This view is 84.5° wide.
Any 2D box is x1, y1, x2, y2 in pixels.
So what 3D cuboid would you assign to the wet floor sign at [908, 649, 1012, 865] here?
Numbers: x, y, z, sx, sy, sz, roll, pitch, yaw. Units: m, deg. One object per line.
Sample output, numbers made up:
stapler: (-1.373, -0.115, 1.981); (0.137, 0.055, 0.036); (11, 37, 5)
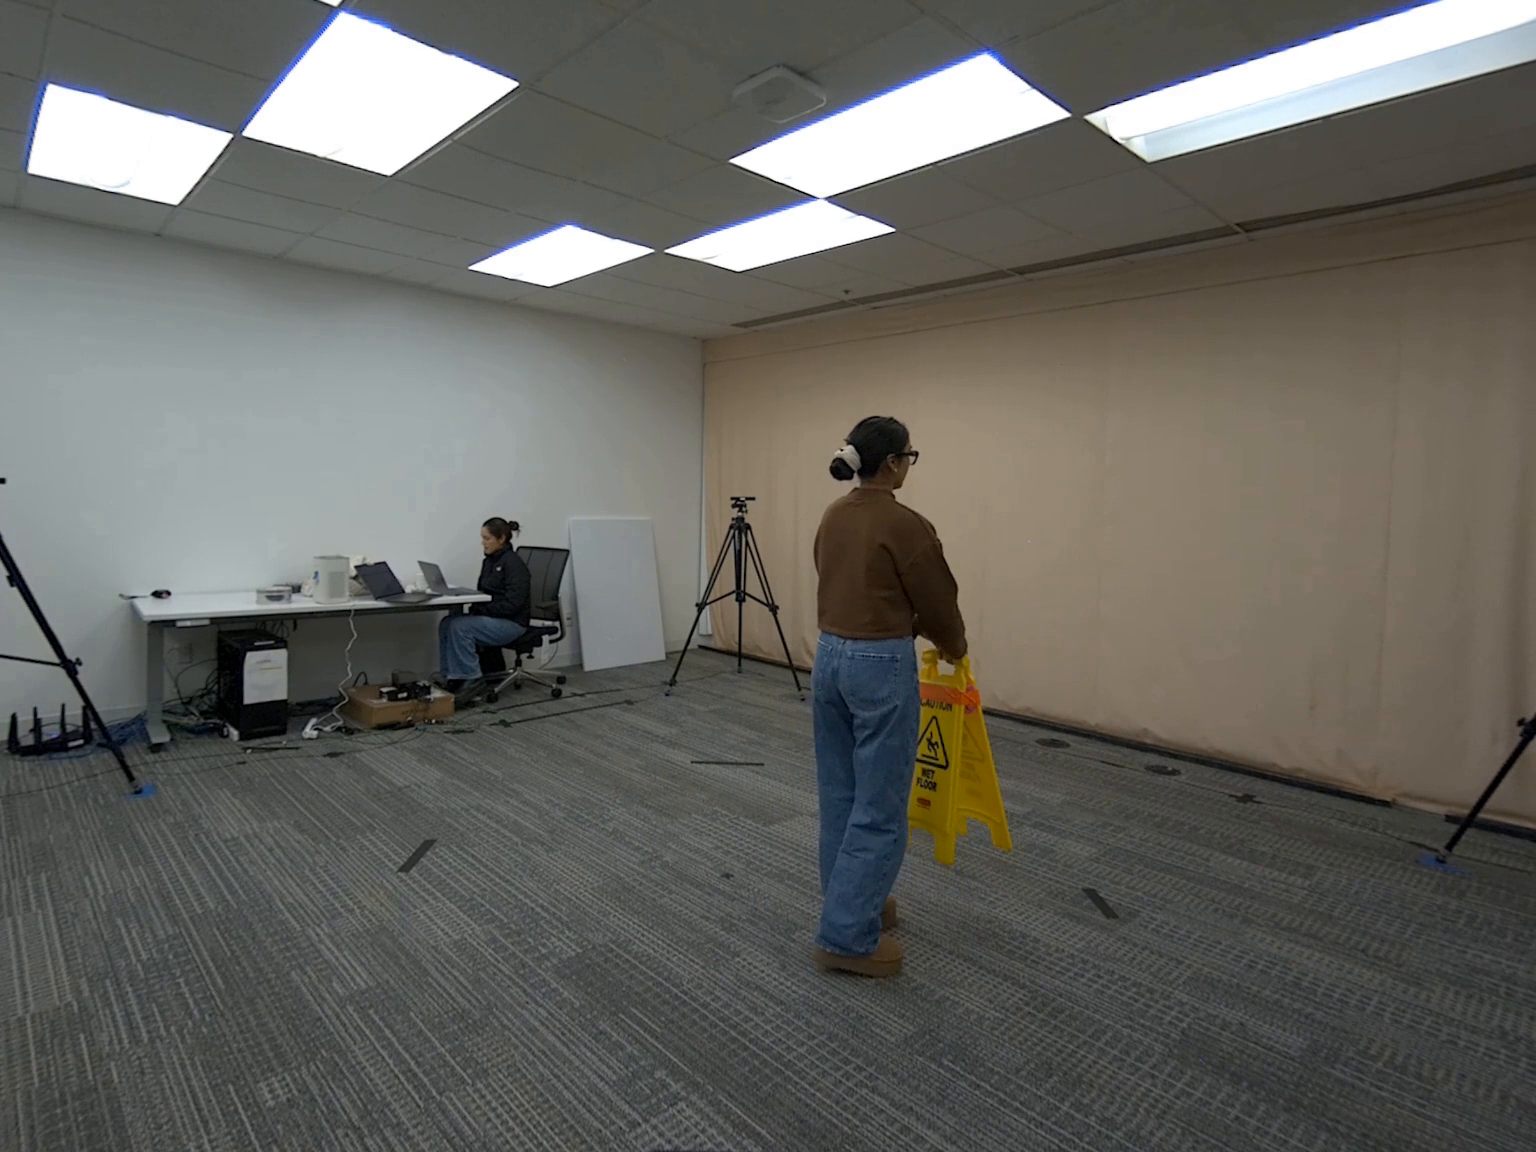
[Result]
wet floor sign: (0.591, 0.575, 2.796); (0.284, 0.647, 0.287); (0, -3, -30)
